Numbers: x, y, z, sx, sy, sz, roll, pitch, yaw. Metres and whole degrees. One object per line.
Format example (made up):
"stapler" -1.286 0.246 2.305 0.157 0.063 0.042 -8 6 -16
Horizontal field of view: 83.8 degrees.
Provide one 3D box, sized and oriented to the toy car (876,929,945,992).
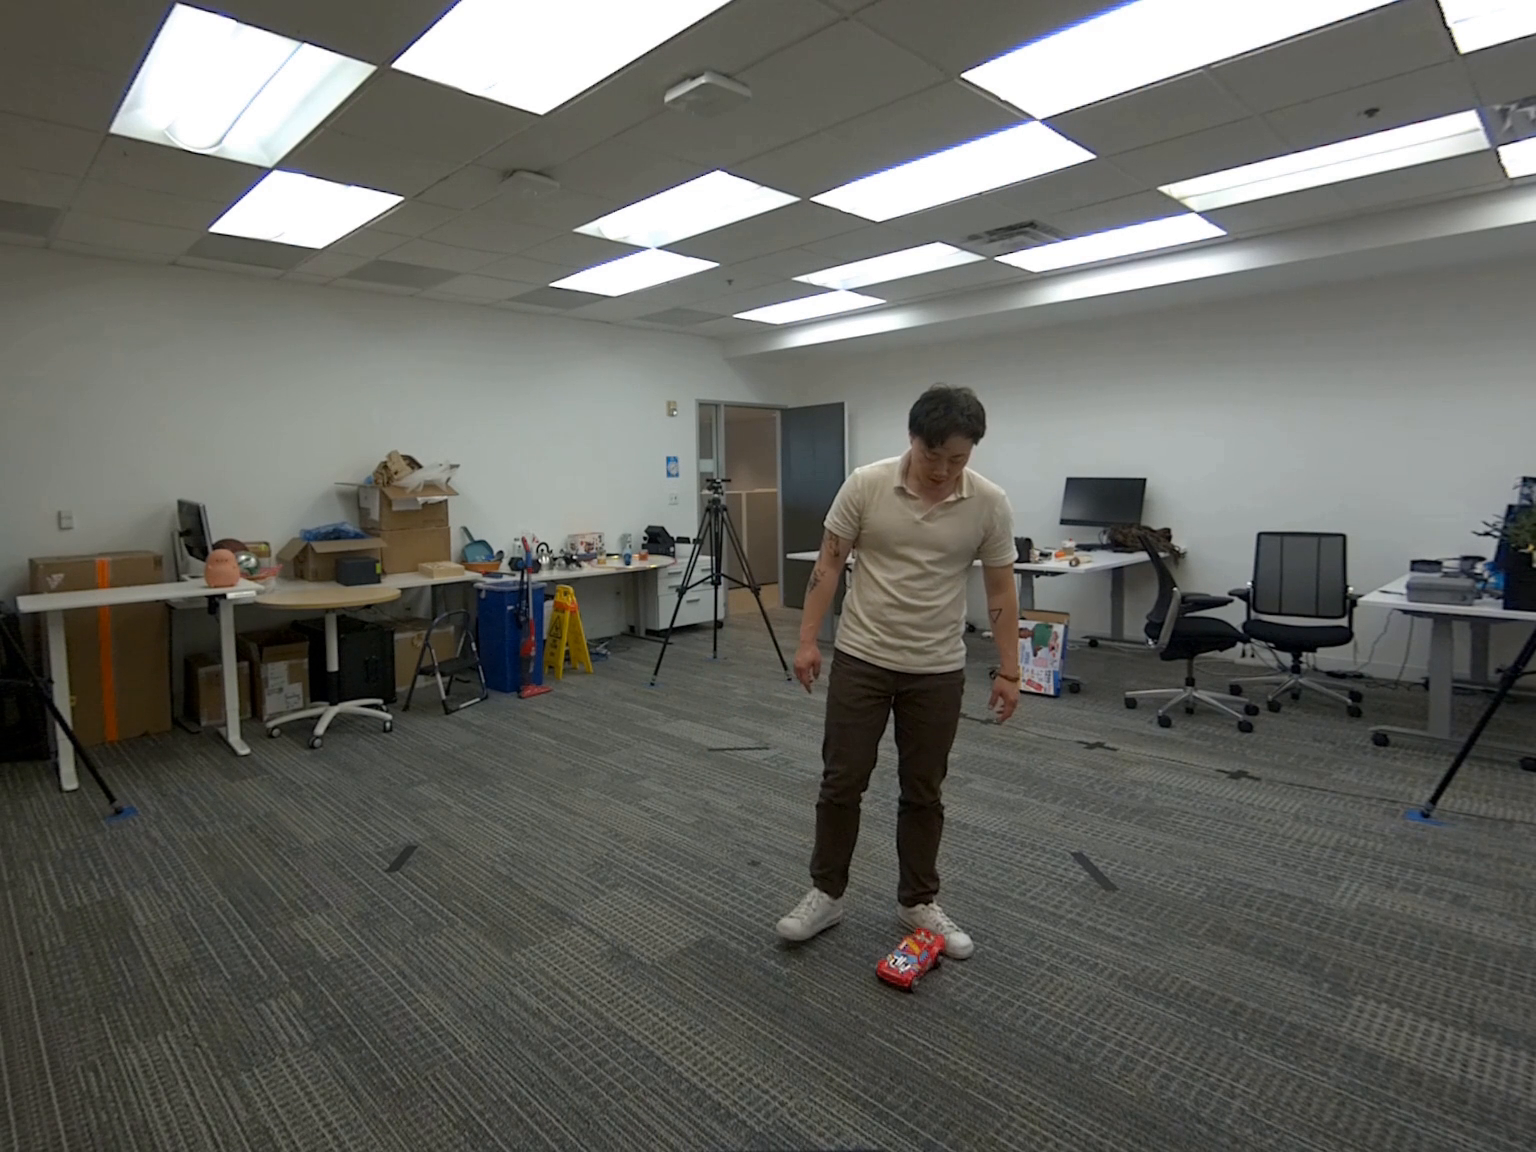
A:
"toy car" 0.416 1.081 2.419 0.134 0.082 0.250 3 18 39
